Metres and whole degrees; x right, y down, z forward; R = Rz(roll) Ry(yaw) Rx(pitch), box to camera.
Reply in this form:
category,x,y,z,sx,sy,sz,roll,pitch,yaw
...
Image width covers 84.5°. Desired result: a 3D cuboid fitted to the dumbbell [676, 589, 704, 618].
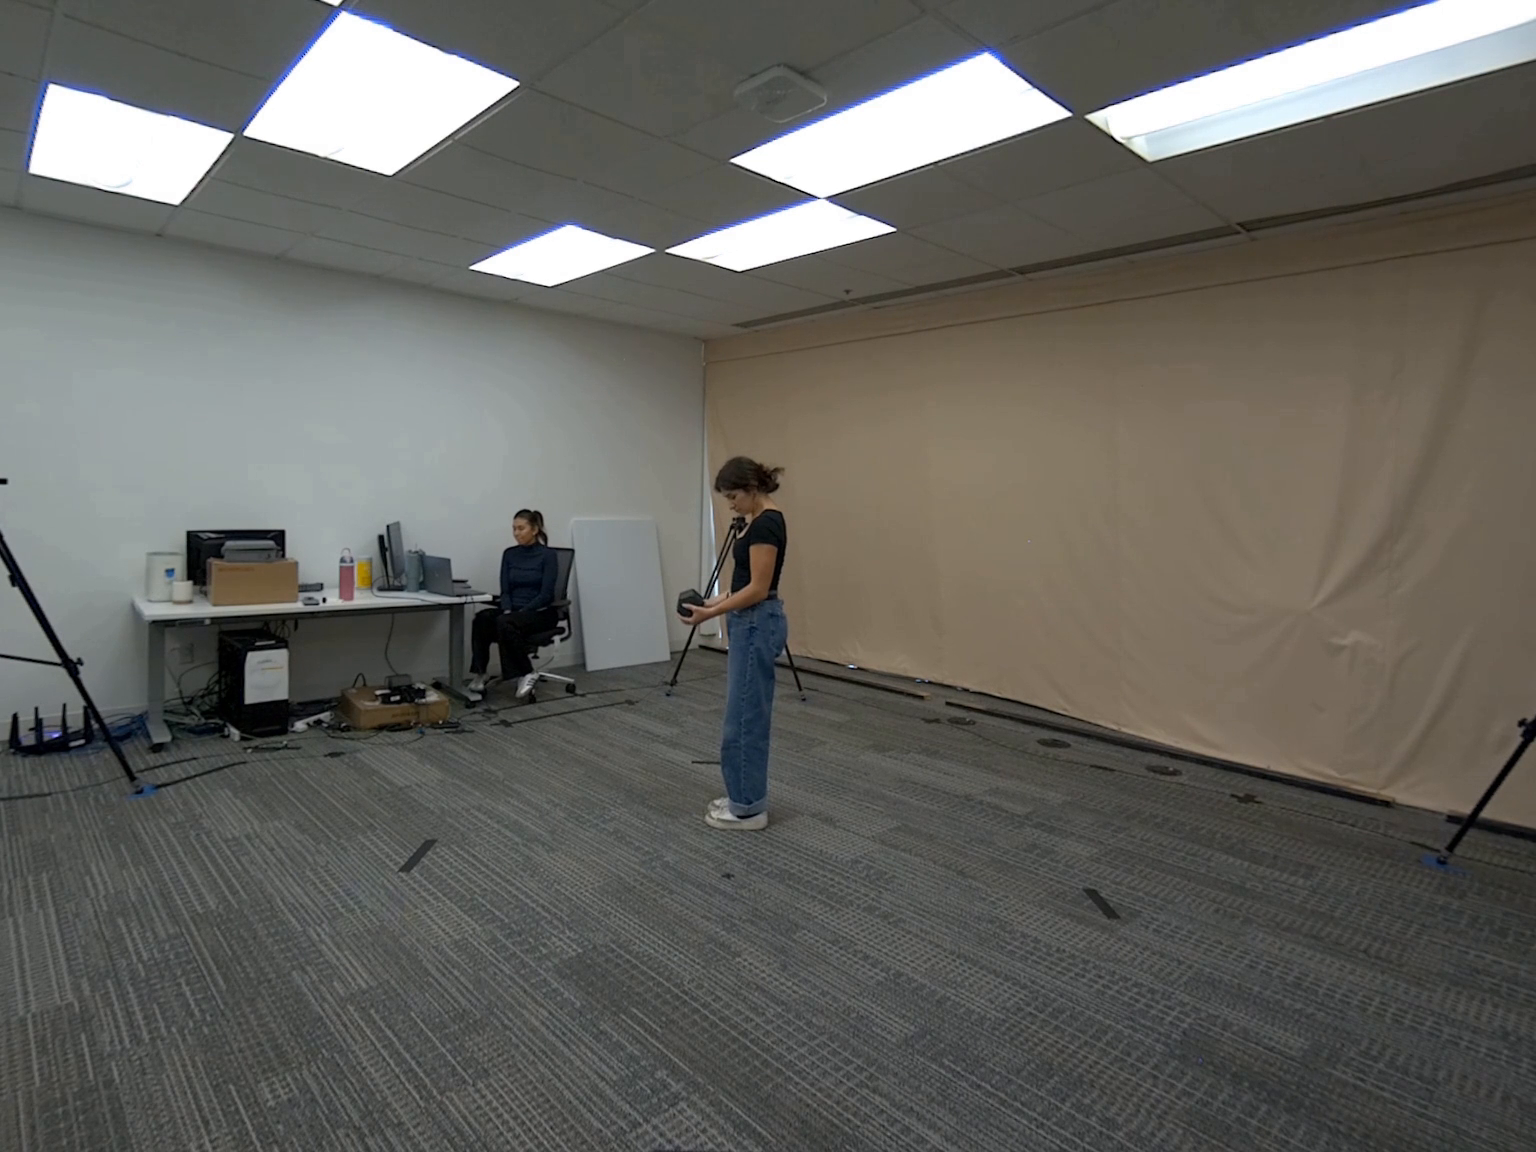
category,x,y,z,sx,sy,sz,roll,pitch,yaw
dumbbell,-0.334,0.115,3.626,0.122,0.109,0.294,40,0,-5
